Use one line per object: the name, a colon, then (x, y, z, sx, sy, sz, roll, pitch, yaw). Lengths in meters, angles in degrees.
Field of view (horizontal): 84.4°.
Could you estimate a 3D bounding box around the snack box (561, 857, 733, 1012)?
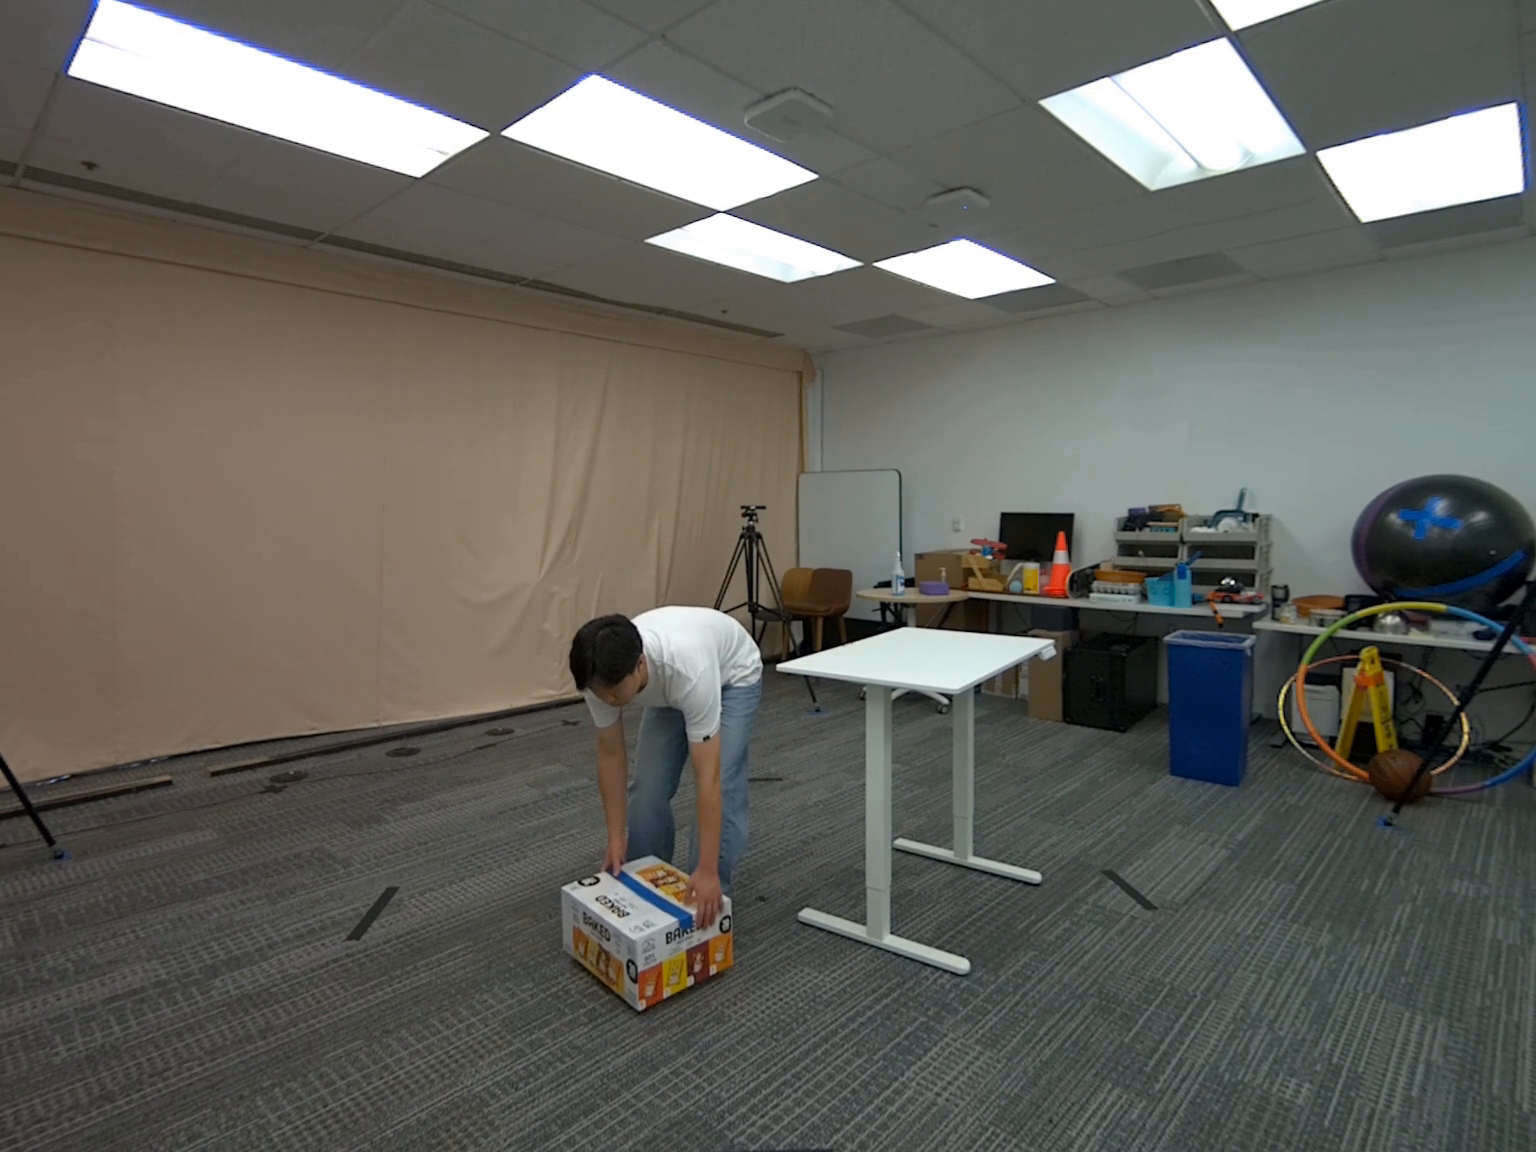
snack box: (-0.373, 1.038, 2.524, 0.330, 0.205, 0.419, -5, 8, -42)
